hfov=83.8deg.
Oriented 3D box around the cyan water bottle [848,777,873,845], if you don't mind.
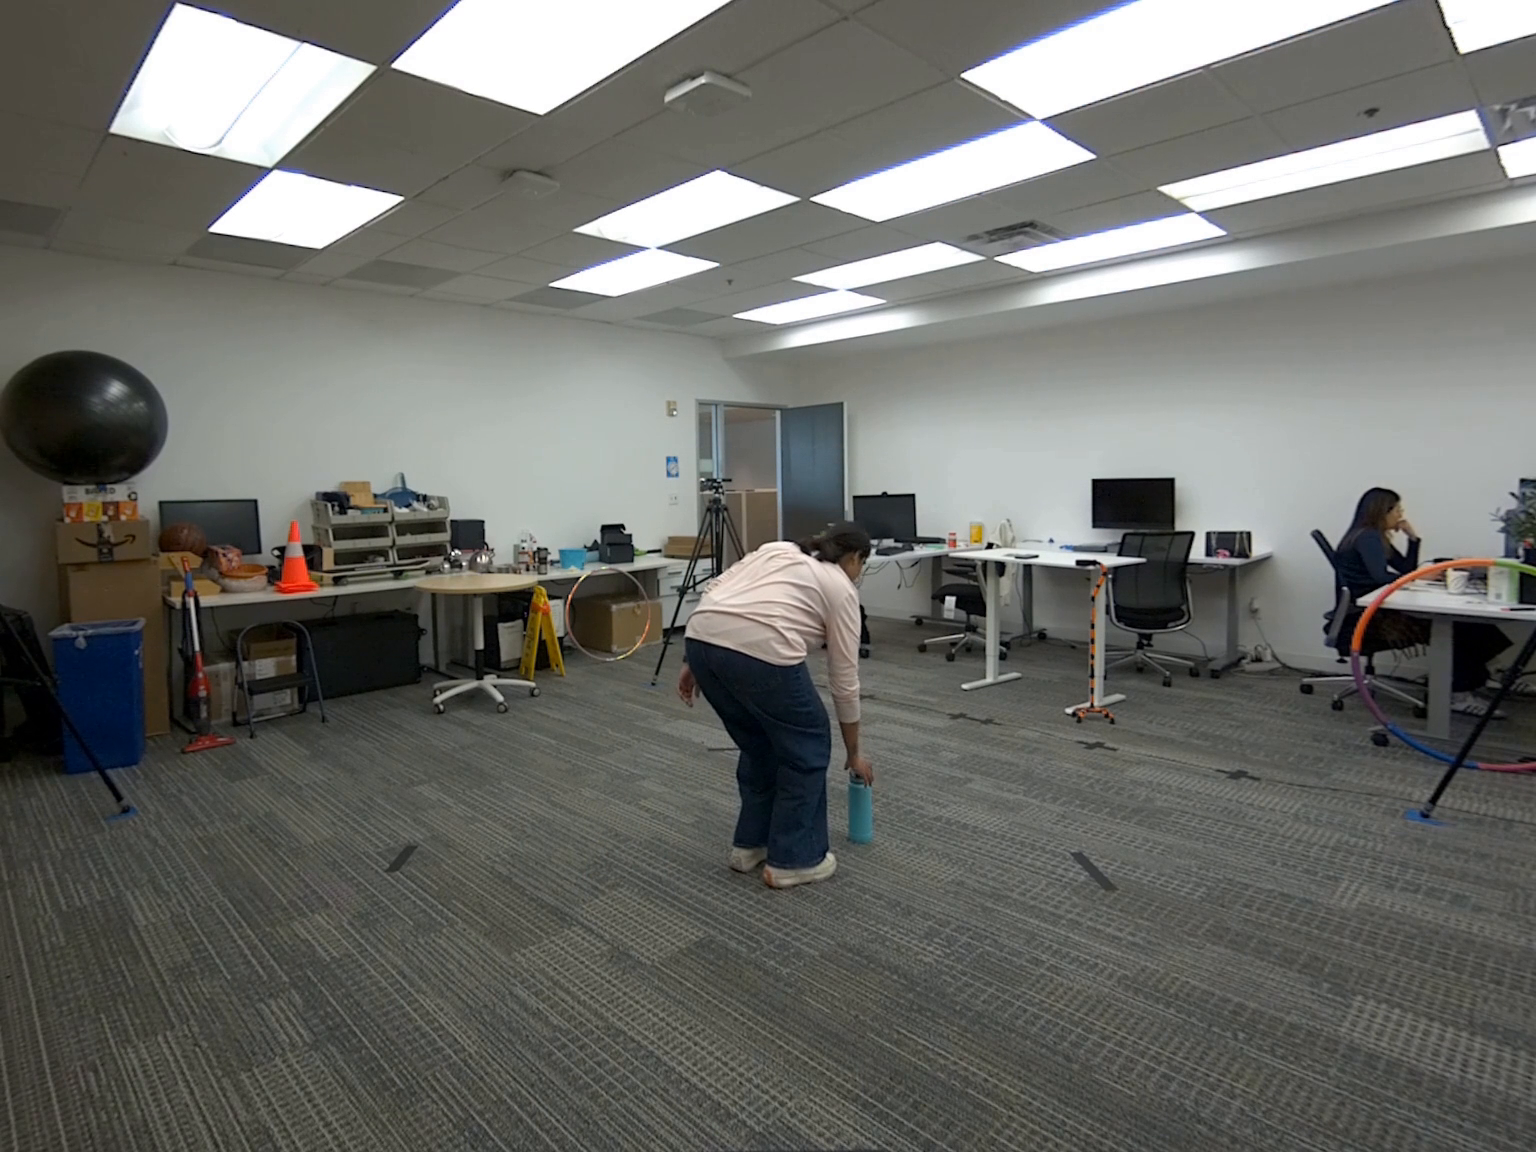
[{"bbox_3d":[0.355,0.873,3.298,0.092,0.283,0.092,-3,3,-1],"label":"cyan water bottle"}]
